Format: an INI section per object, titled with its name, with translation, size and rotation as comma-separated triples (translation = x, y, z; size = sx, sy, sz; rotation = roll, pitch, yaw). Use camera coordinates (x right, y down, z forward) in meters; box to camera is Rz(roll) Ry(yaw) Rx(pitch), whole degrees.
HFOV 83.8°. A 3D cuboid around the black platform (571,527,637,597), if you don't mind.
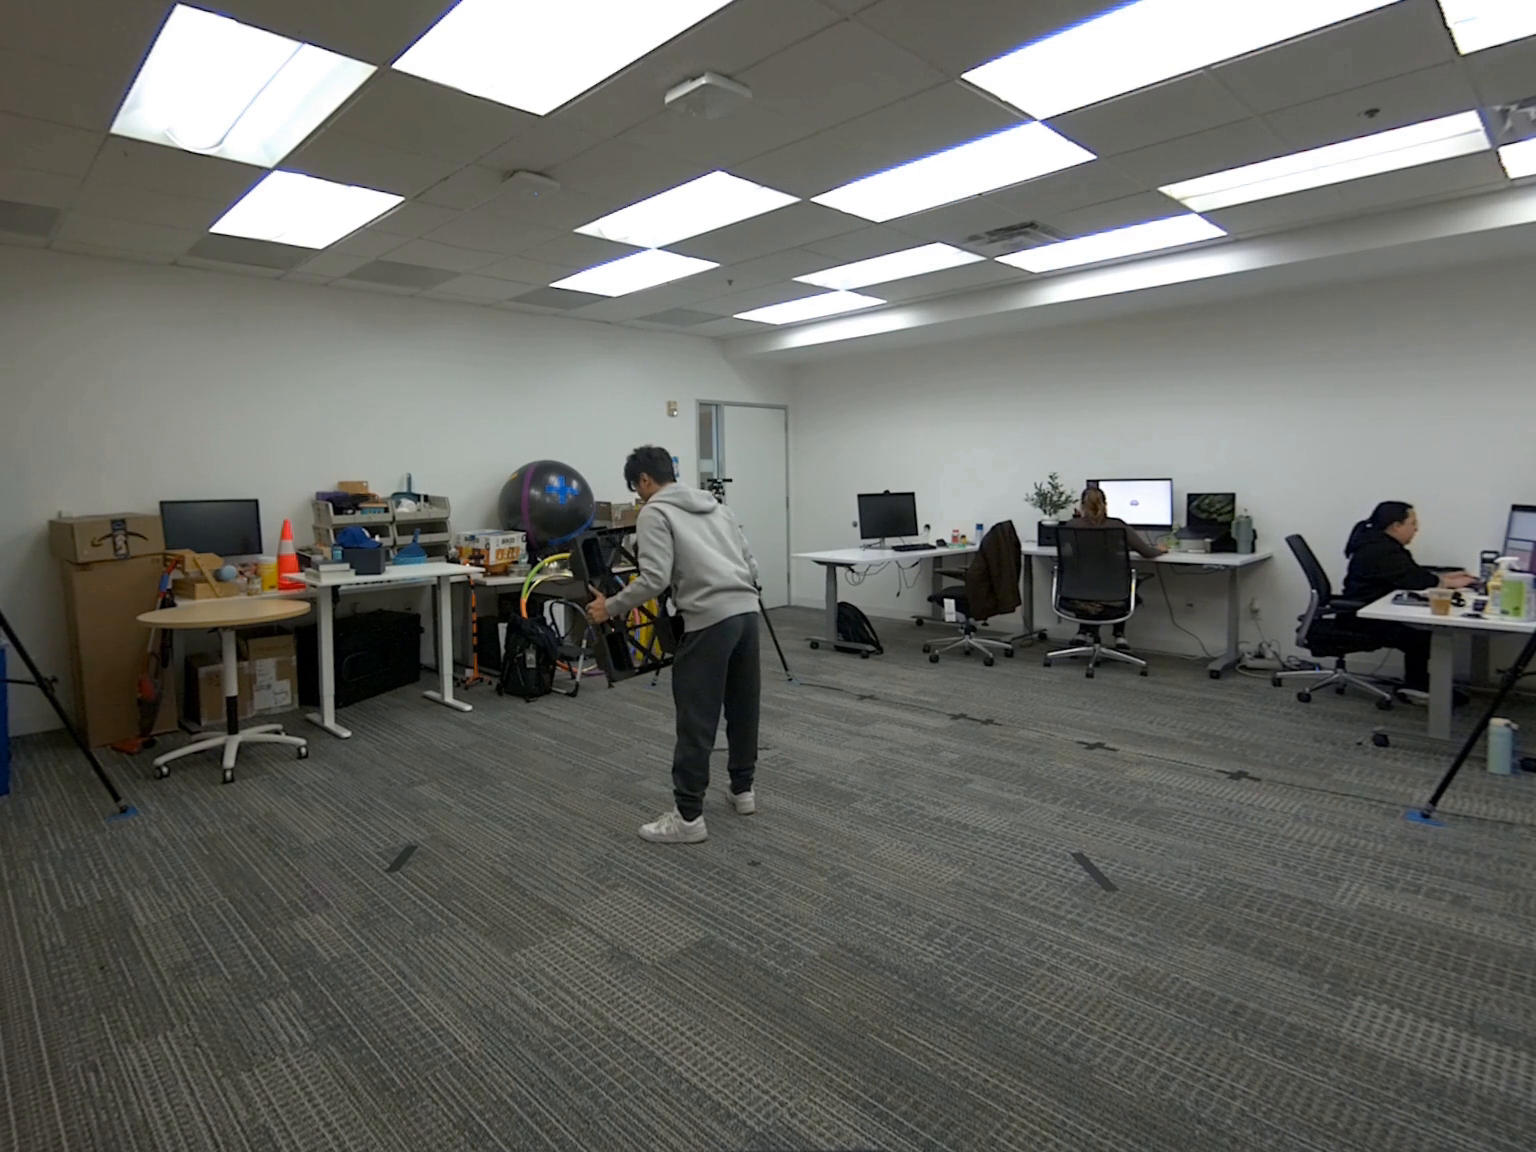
[black platform]
translation = -0.451, 0.082, 3.642
size = 0.146, 0.609, 0.787
rotation = -21, -7, 43
